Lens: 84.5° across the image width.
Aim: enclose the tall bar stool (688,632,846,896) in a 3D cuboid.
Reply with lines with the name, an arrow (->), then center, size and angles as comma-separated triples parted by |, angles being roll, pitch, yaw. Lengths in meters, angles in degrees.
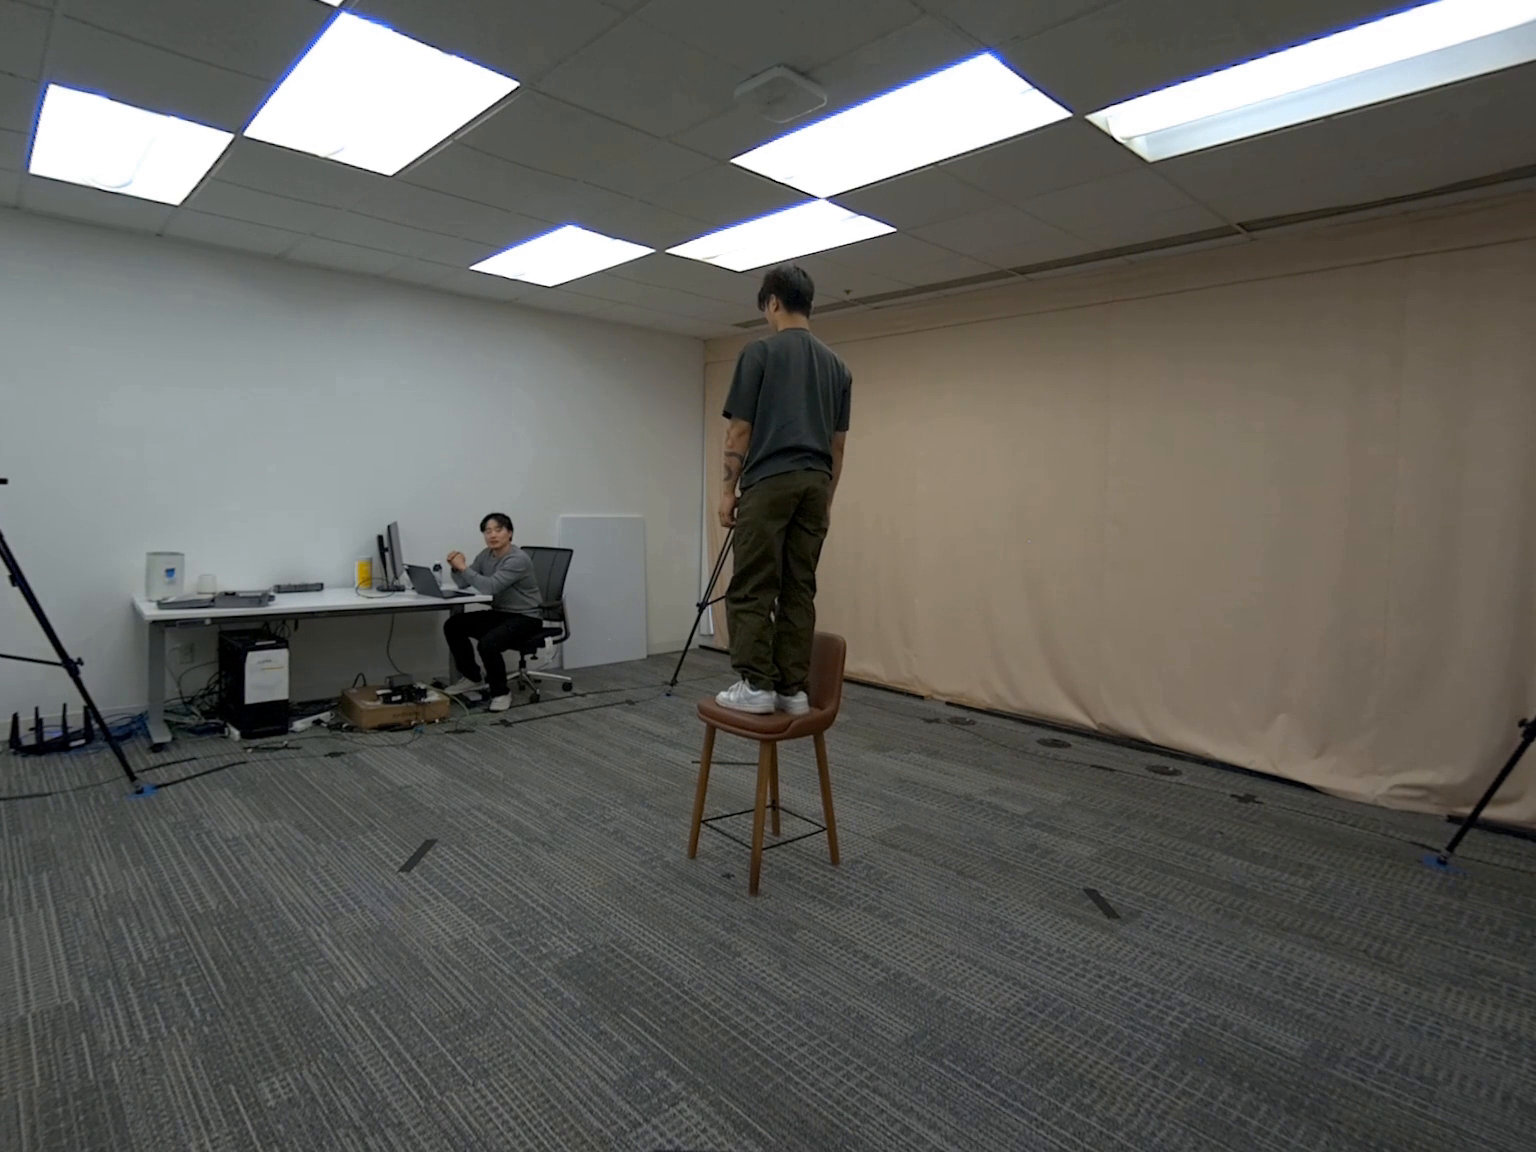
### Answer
tall bar stool -> -0.004, 0.663, 3.220 | 0.456, 0.888, 0.468 | 1, 3, -39
